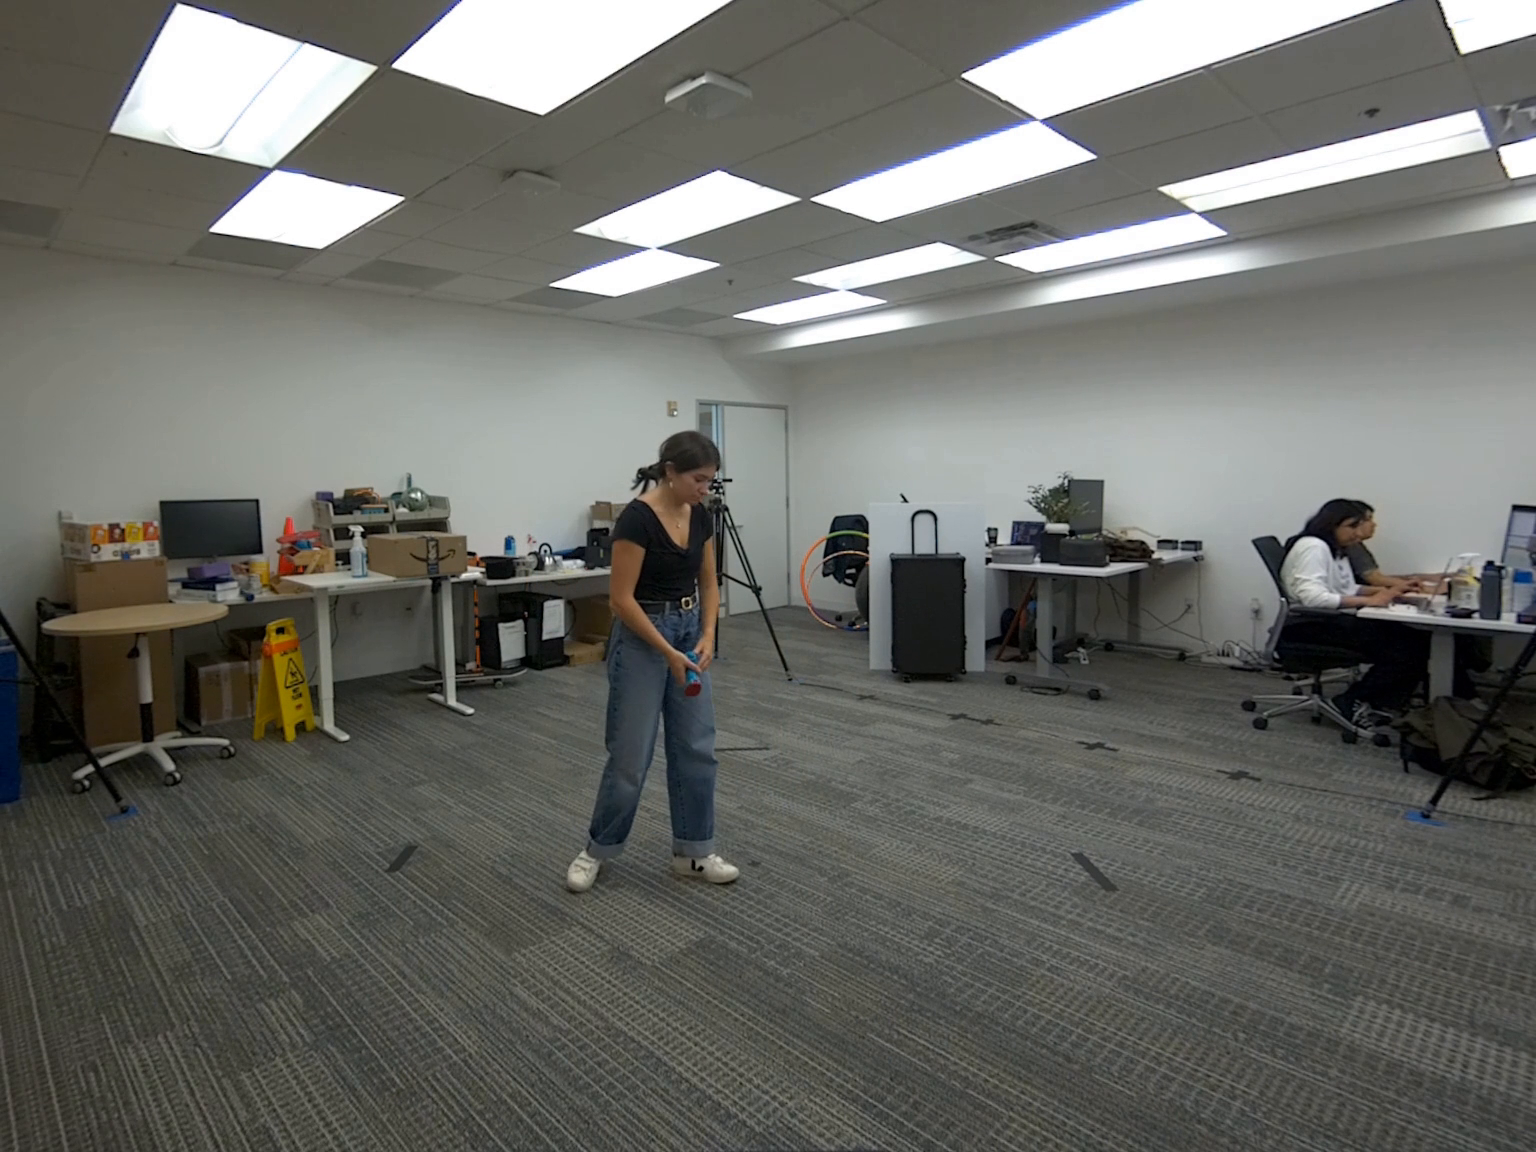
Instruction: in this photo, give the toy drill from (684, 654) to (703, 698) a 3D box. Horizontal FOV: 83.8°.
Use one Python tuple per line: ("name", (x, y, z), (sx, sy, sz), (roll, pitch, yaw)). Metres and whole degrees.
("toy drill", (-0.281, 0.350, 2.843), (0.060, 0.167, 0.150), (7, 40, -15))
